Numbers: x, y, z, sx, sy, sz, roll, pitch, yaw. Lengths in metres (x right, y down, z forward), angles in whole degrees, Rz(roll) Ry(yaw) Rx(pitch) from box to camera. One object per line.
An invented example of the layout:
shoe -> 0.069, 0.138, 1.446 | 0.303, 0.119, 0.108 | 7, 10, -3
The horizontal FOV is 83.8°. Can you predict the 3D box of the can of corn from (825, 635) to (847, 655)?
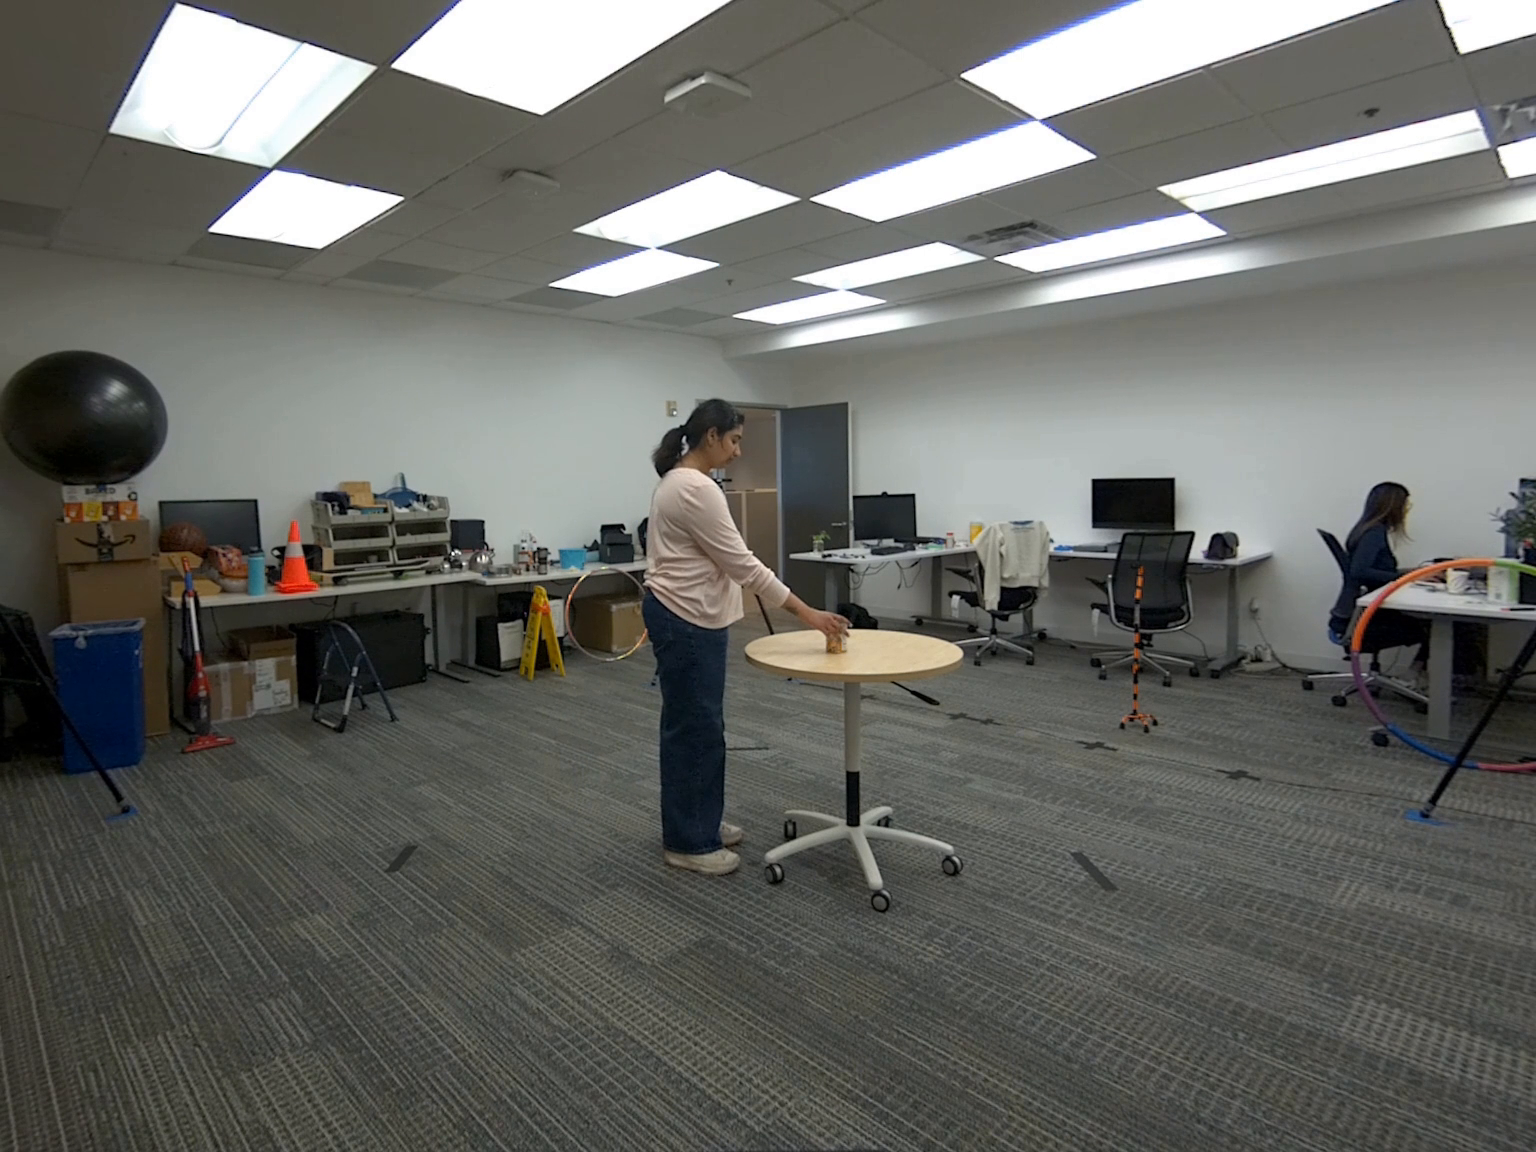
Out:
can of corn -> 0.242, 0.208, 3.005 | 0.074, 0.110, 0.074 | -1, 5, -2
